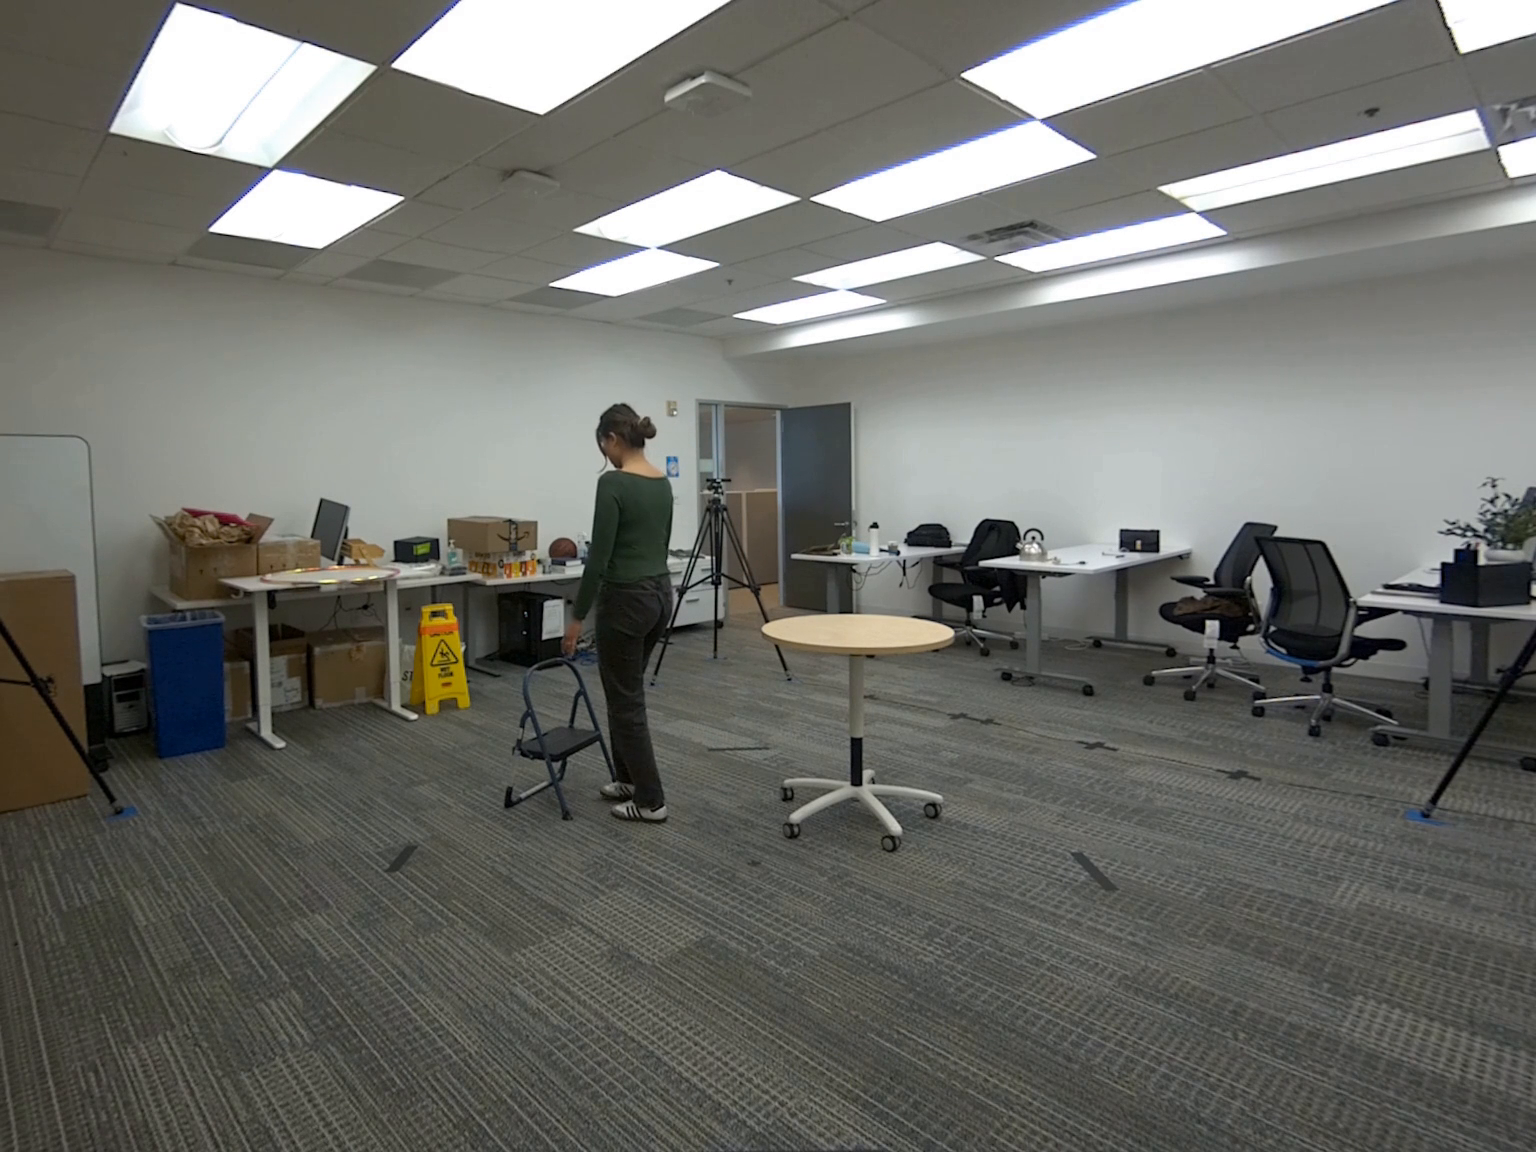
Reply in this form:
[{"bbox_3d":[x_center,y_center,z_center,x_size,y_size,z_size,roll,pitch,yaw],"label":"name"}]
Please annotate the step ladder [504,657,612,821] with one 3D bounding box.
[{"bbox_3d":[-0.911,0.681,3.782,0.357,0.604,0.423,0,4,23],"label":"step ladder"}]
